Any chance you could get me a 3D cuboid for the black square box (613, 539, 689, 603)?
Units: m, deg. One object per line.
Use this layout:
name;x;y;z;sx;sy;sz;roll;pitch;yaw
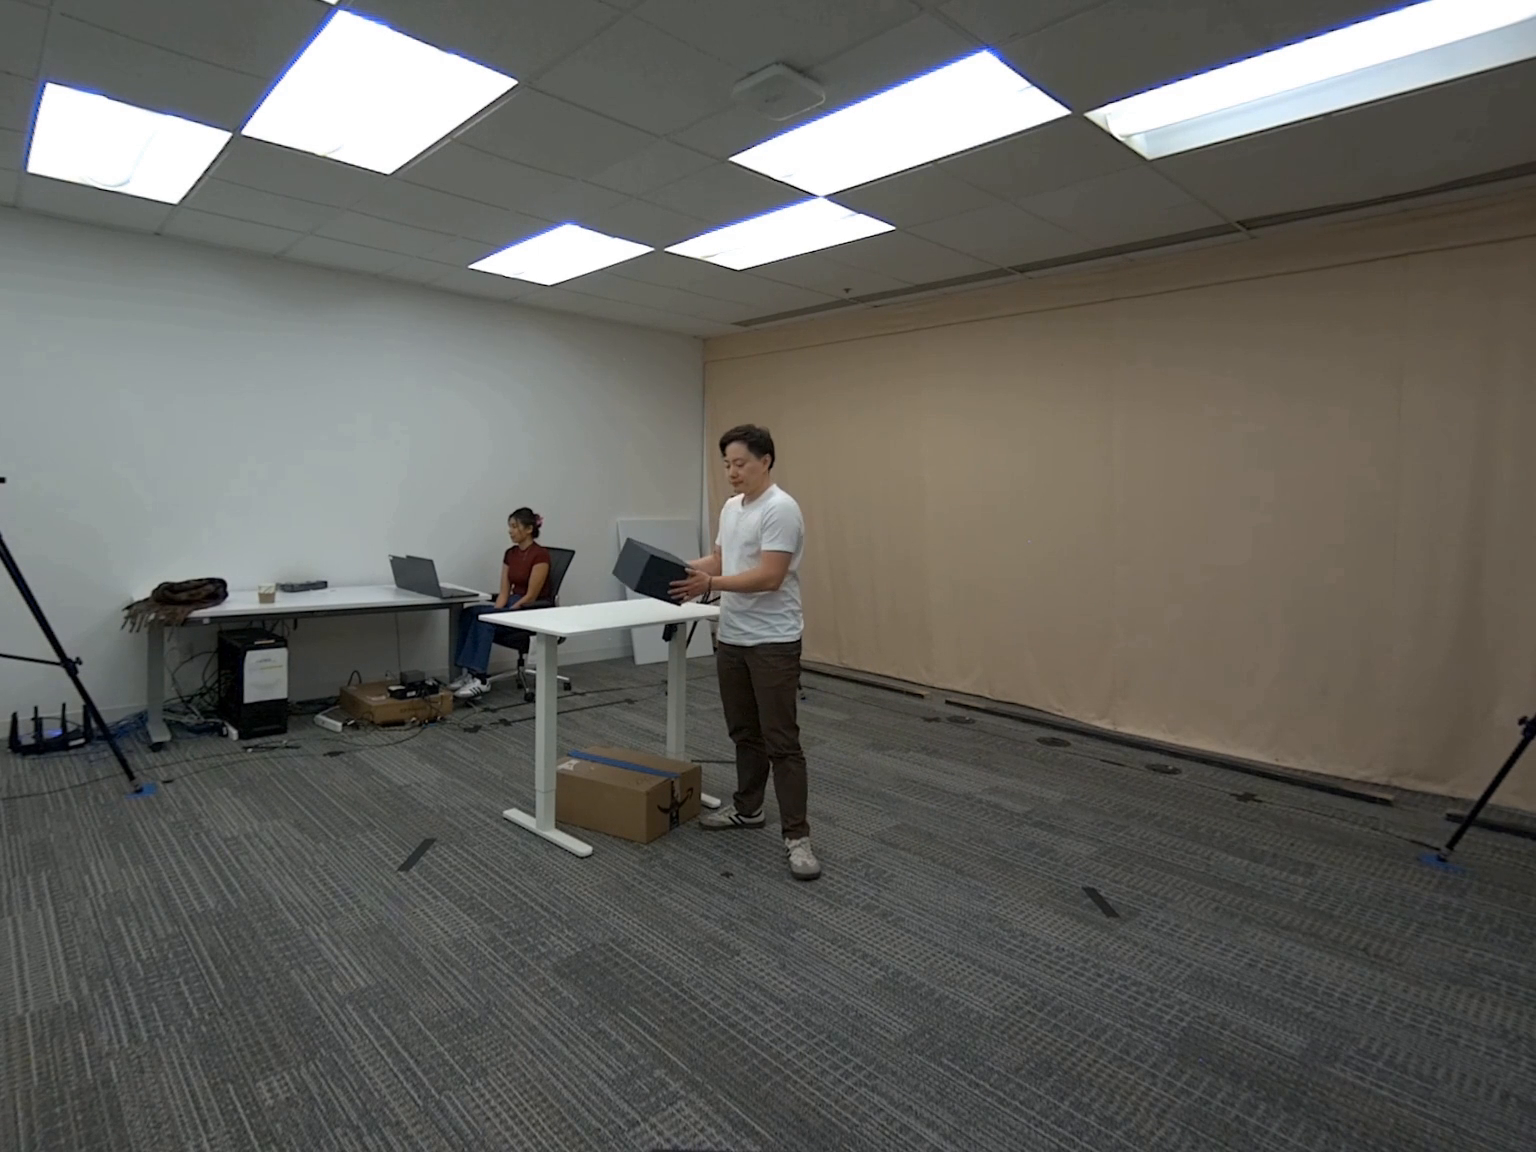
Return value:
black square box;-0.439;-0.007;3.236;0.211;0.156;0.235;21;4;-36
